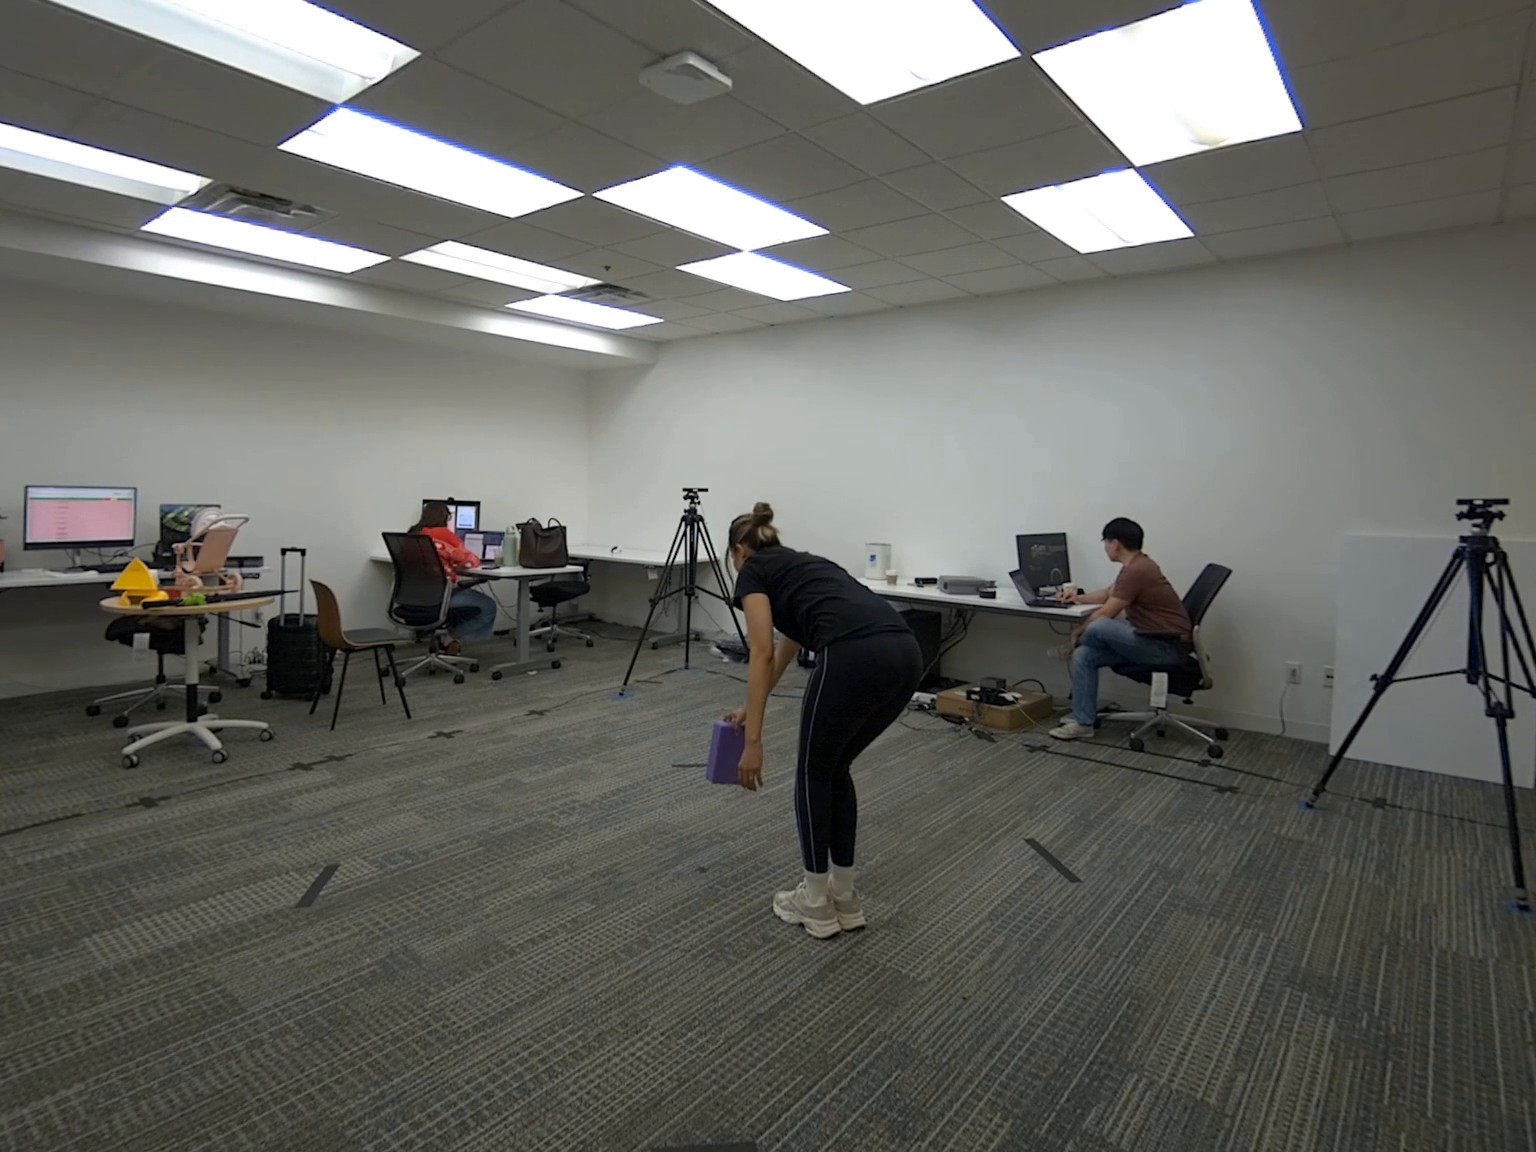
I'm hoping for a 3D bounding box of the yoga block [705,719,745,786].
[{"bbox_3d":[-0.161,0.678,3.307,0.145,0.229,0.078,8,0,-28],"label":"yoga block"}]
